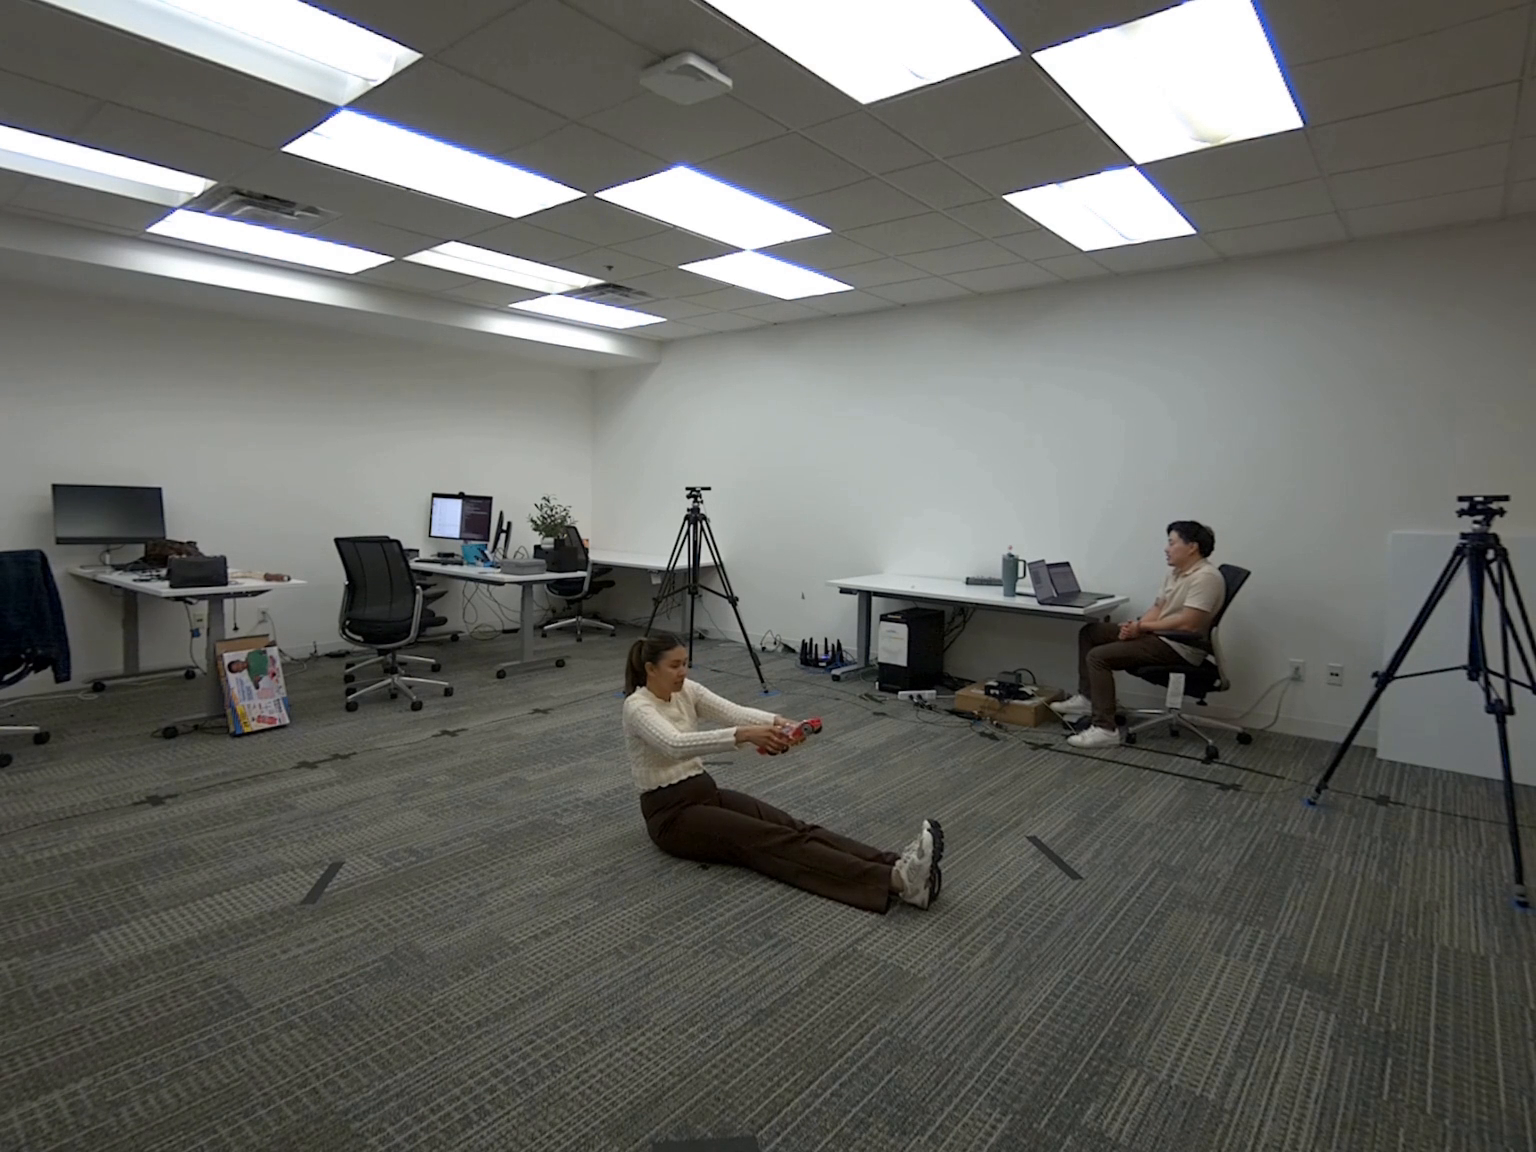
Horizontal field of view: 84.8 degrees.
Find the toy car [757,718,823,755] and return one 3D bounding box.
[{"bbox_3d":[0.052,0.574,3.021,0.258,0.084,0.126,-21,-14,23],"label":"toy car"}]
